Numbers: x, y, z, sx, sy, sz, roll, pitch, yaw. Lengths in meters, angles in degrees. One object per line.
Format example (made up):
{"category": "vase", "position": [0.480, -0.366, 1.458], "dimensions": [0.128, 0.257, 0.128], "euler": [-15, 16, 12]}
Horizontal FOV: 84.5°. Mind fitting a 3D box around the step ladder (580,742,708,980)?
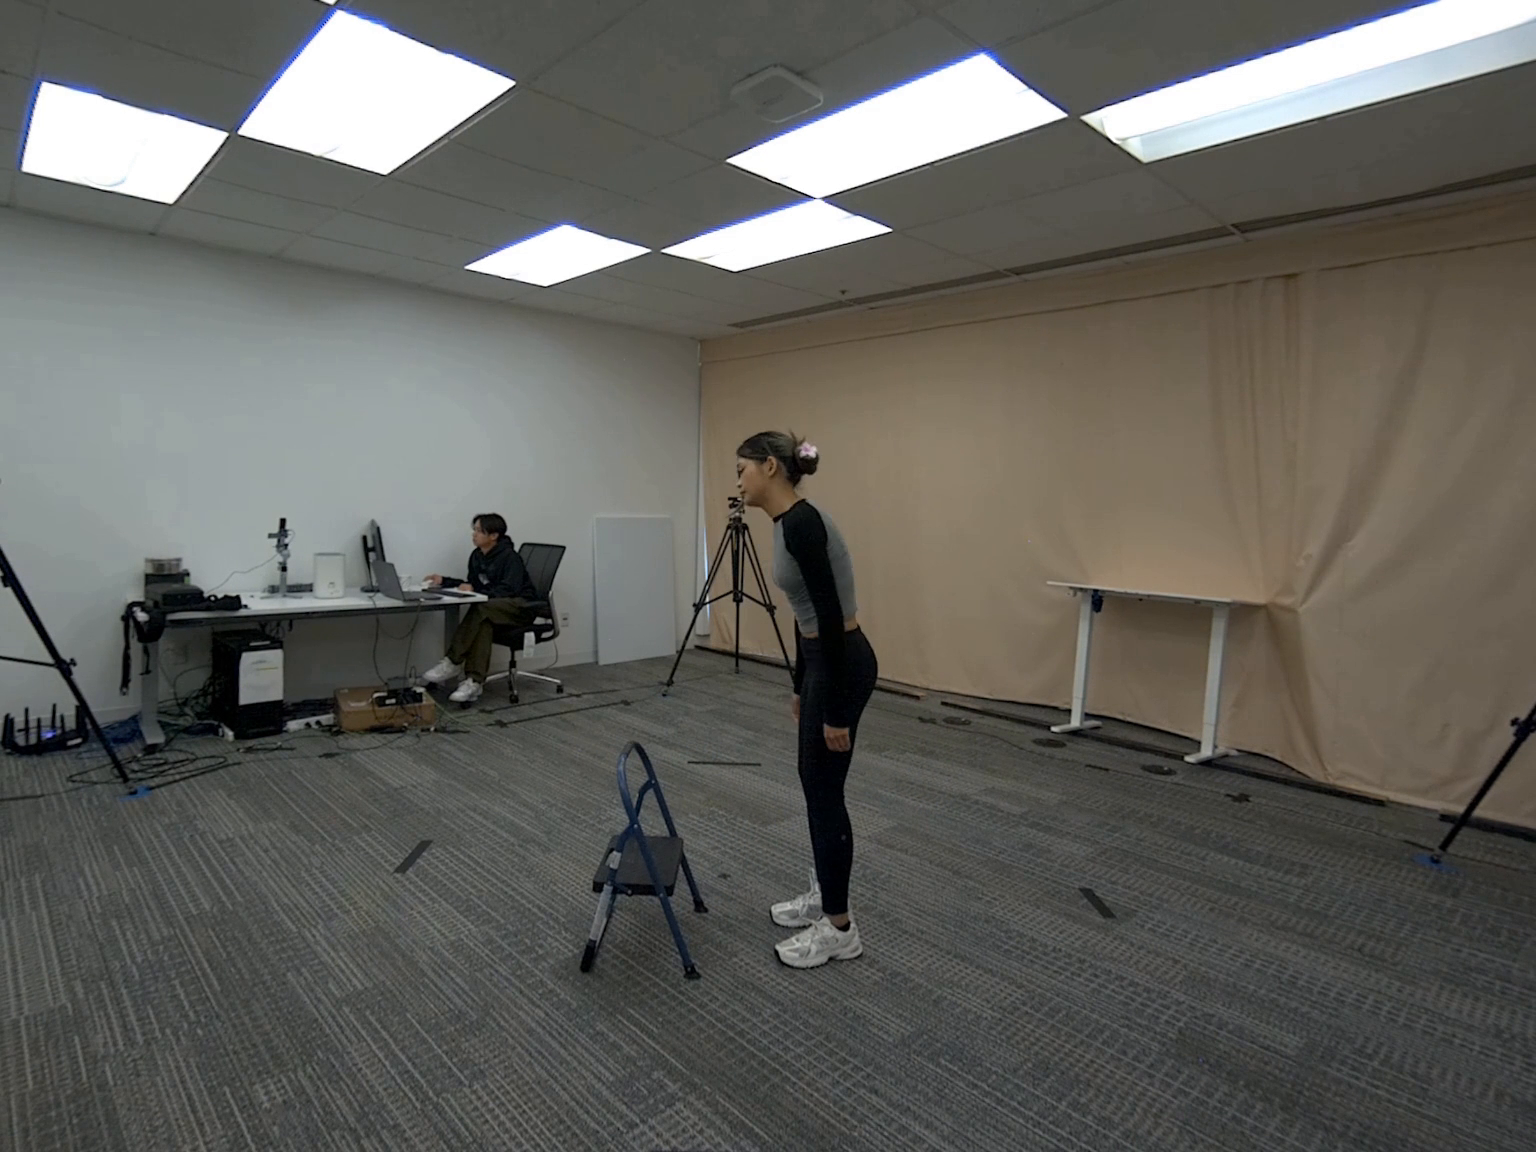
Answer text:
{"category": "step ladder", "position": [-0.375, 0.846, 2.633], "dimensions": [0.349, 0.604, 0.432], "euler": [1, 4, -1]}
